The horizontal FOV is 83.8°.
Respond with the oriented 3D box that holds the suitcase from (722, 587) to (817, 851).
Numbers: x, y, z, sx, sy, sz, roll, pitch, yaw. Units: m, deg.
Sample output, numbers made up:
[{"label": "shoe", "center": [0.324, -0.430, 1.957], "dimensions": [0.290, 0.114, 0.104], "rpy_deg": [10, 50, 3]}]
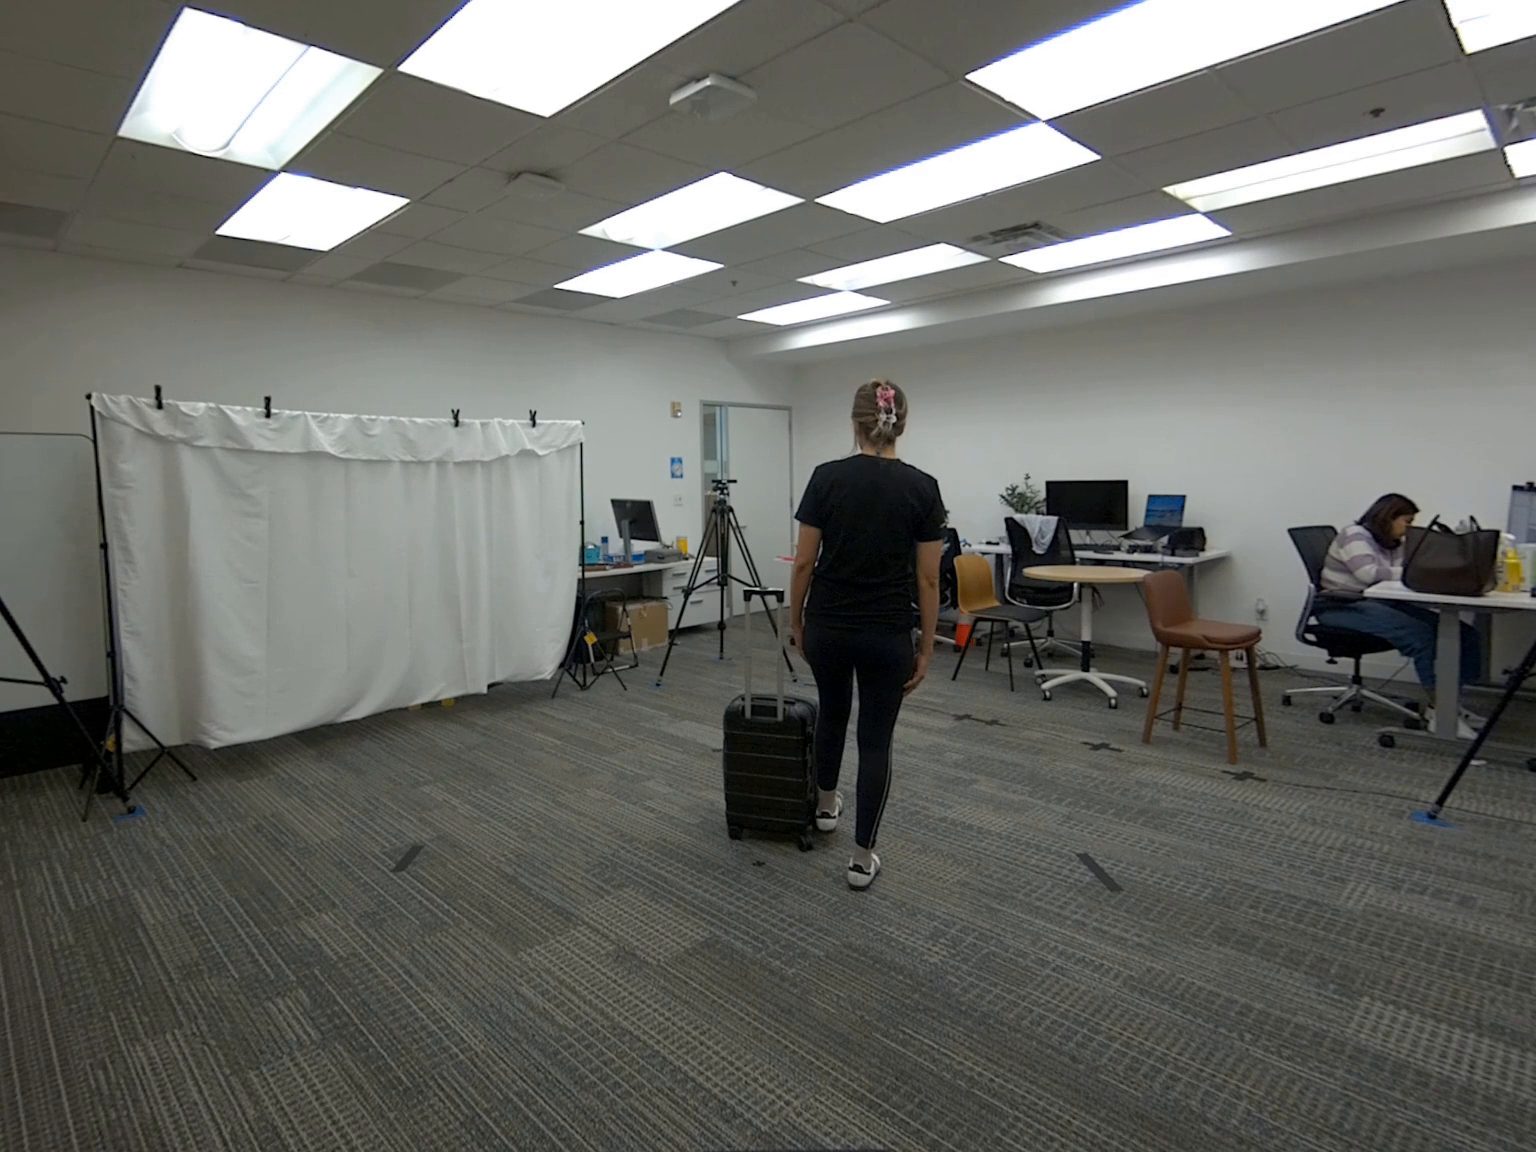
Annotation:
[{"label": "suitcase", "center": [0.015, 0.540, 3.371], "dimensions": [0.391, 0.977, 0.253], "rpy_deg": [0, 1, 18]}]
